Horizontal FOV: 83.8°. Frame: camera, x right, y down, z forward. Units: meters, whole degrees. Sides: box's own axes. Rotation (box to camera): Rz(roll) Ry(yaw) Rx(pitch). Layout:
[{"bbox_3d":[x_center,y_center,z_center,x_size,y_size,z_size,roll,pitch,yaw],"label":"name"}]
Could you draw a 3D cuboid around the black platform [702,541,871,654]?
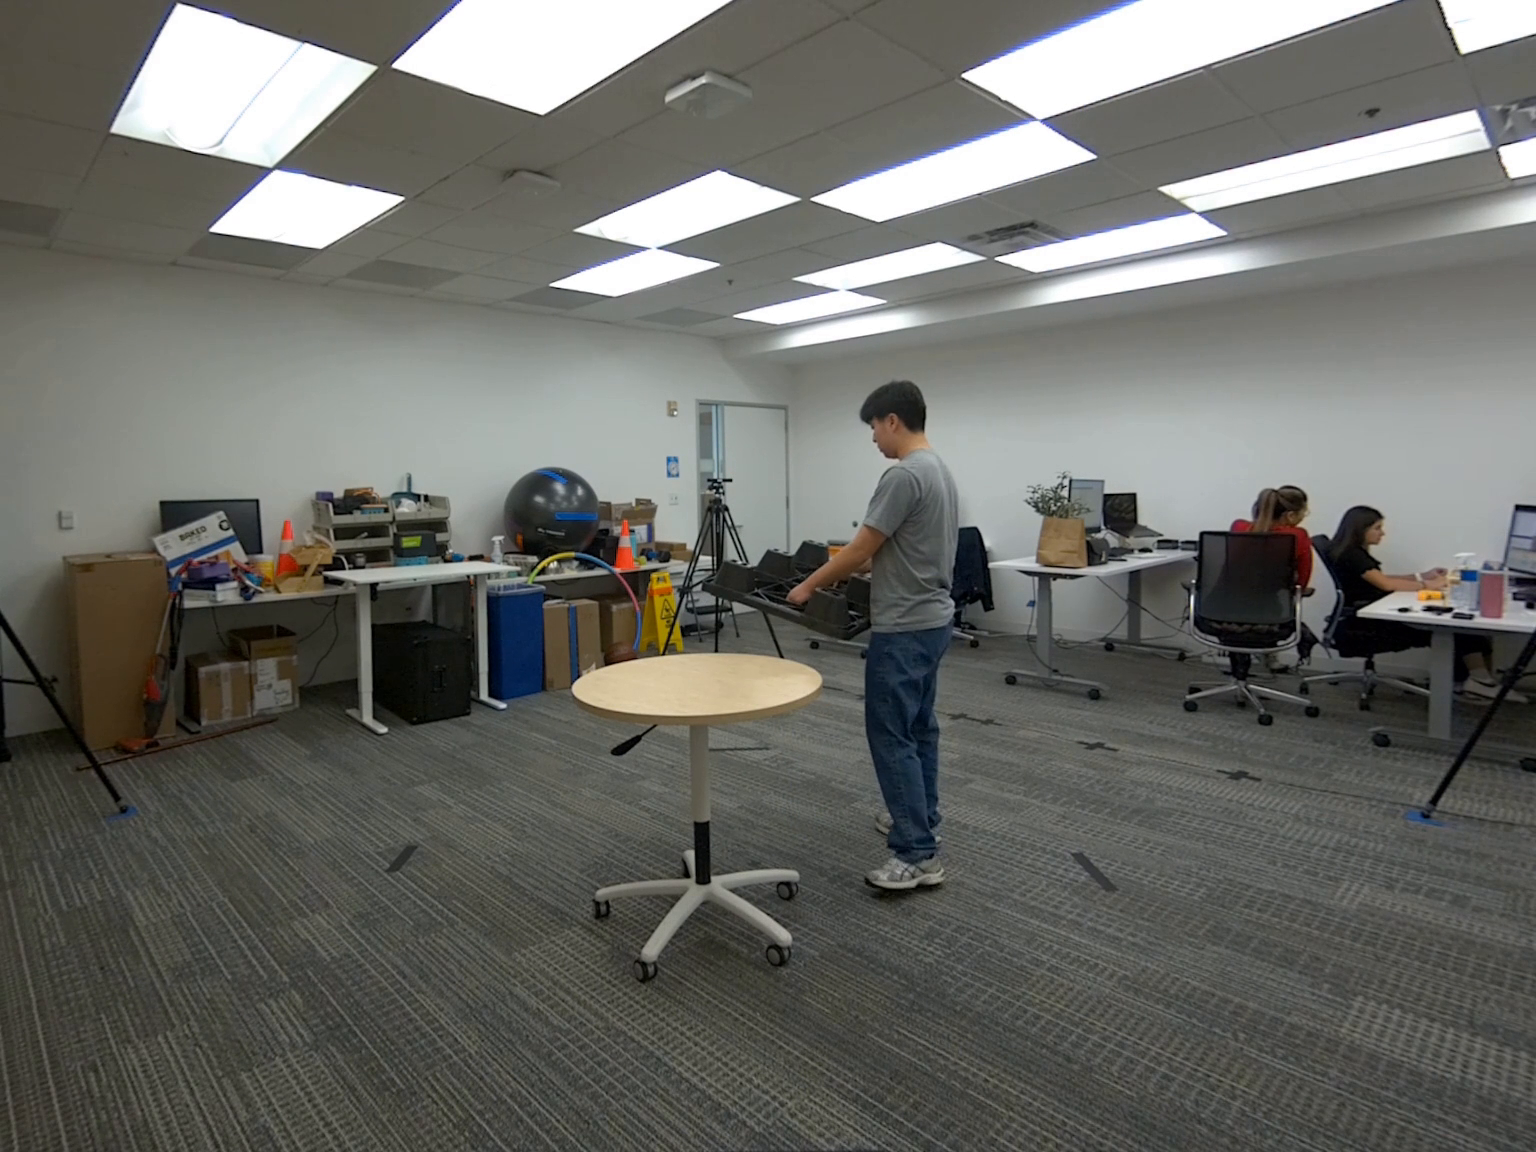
[{"bbox_3d":[0.199,0.025,3.330,0.623,0.142,0.790,17,16,26],"label":"black platform"}]
